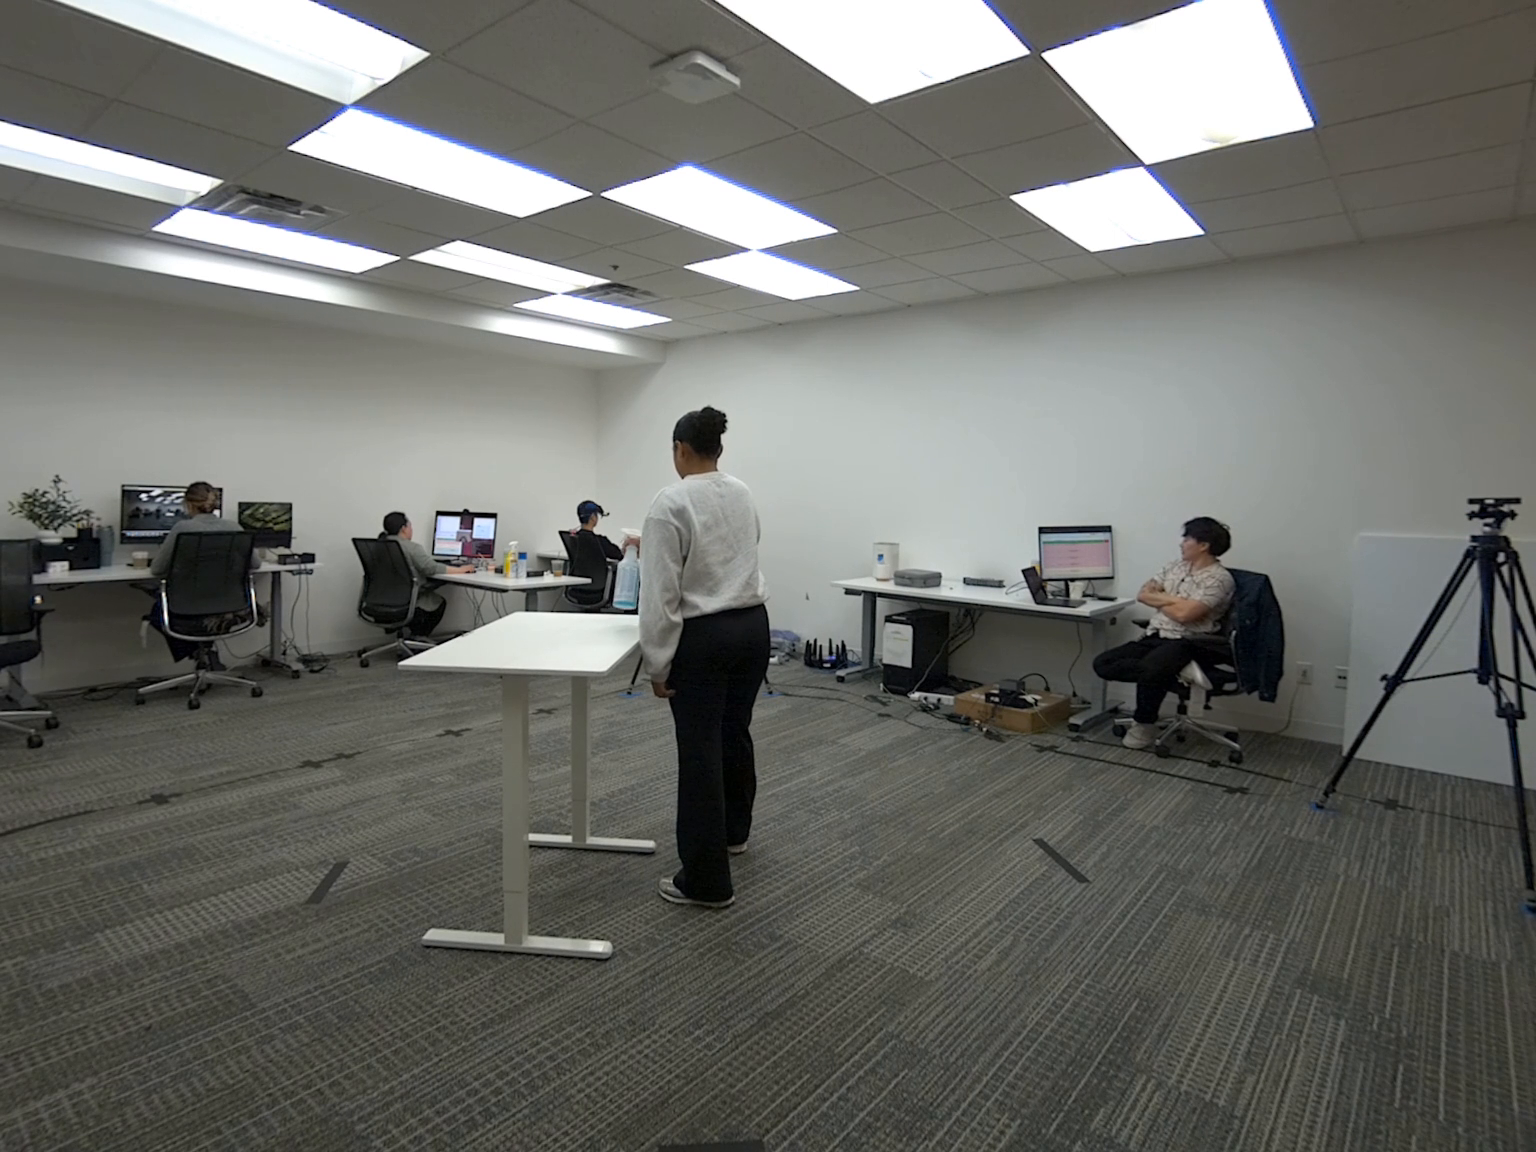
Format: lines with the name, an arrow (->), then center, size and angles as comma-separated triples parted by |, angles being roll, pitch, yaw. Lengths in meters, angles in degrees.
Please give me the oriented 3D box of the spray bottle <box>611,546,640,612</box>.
spray bottle -> -0.518, -0.032, 3.146 | 0.092, 0.301, 0.084 | -3, -15, 27
